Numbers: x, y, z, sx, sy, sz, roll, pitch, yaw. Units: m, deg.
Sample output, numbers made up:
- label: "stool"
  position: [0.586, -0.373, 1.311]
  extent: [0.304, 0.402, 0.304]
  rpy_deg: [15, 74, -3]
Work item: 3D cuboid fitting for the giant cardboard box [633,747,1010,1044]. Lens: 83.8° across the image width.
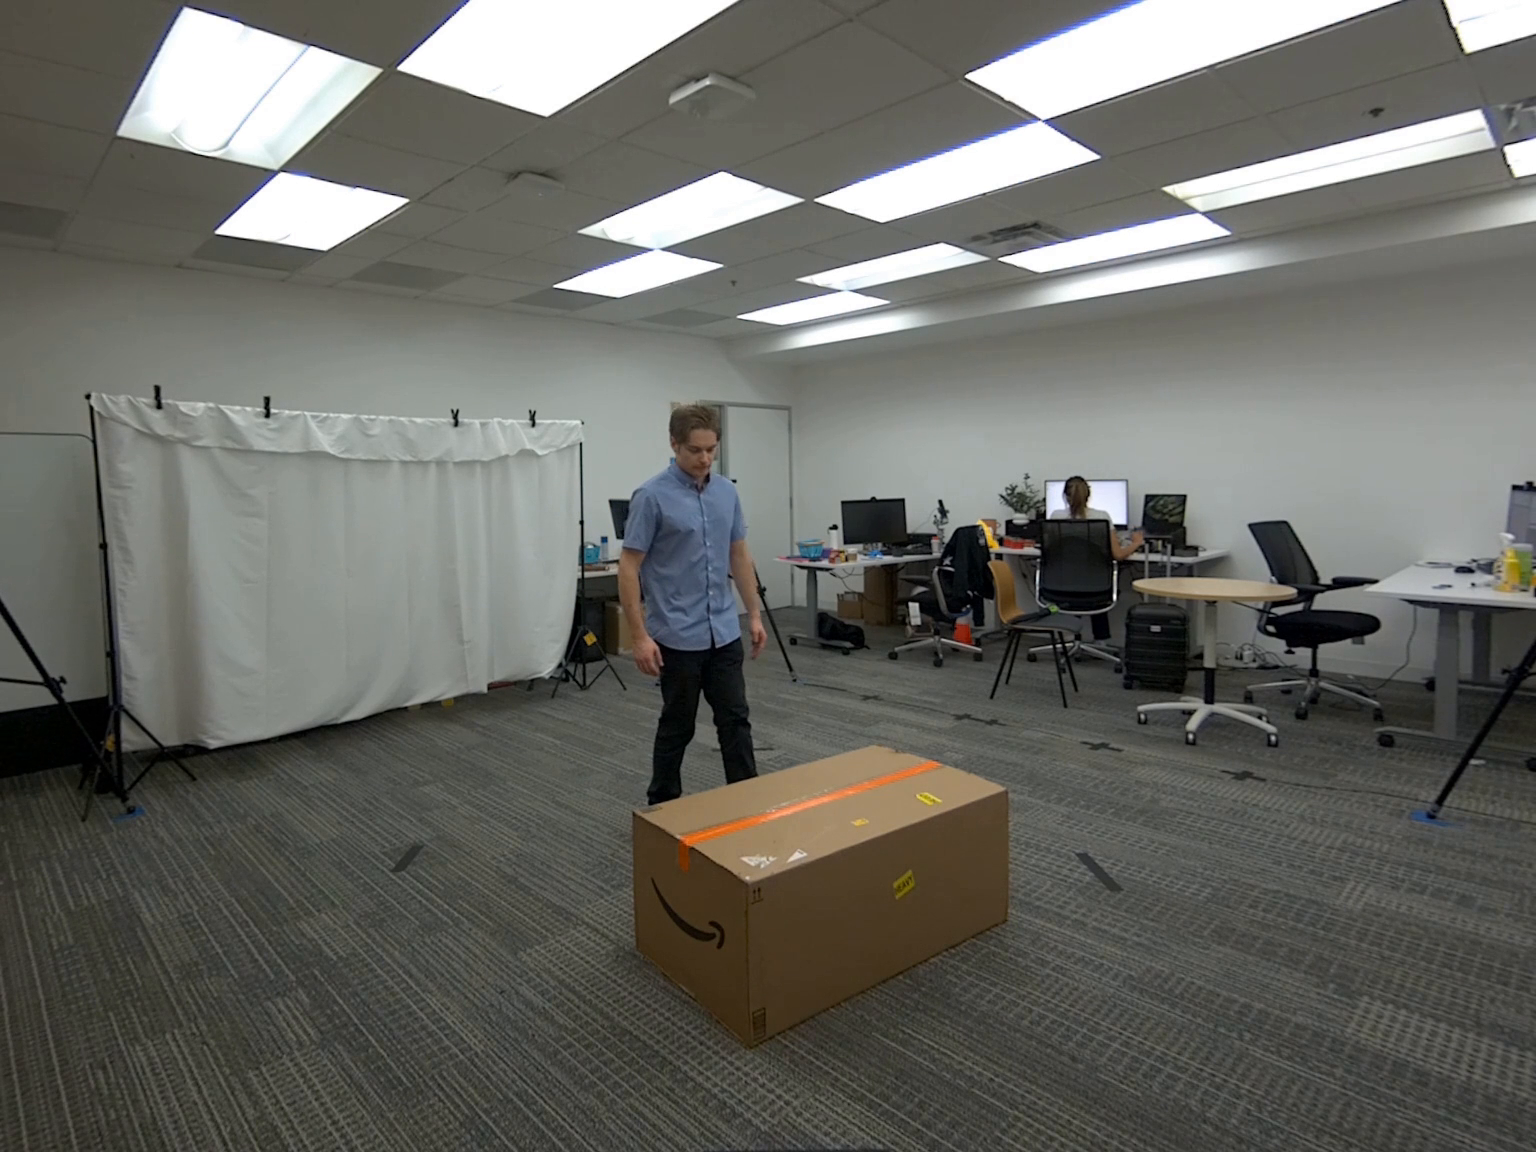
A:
- label: "giant cardboard box"
  position: [0.180, 0.888, 2.609]
  extent: [1.002, 0.445, 0.601]
  rpy_deg: [-7, 6, -36]
